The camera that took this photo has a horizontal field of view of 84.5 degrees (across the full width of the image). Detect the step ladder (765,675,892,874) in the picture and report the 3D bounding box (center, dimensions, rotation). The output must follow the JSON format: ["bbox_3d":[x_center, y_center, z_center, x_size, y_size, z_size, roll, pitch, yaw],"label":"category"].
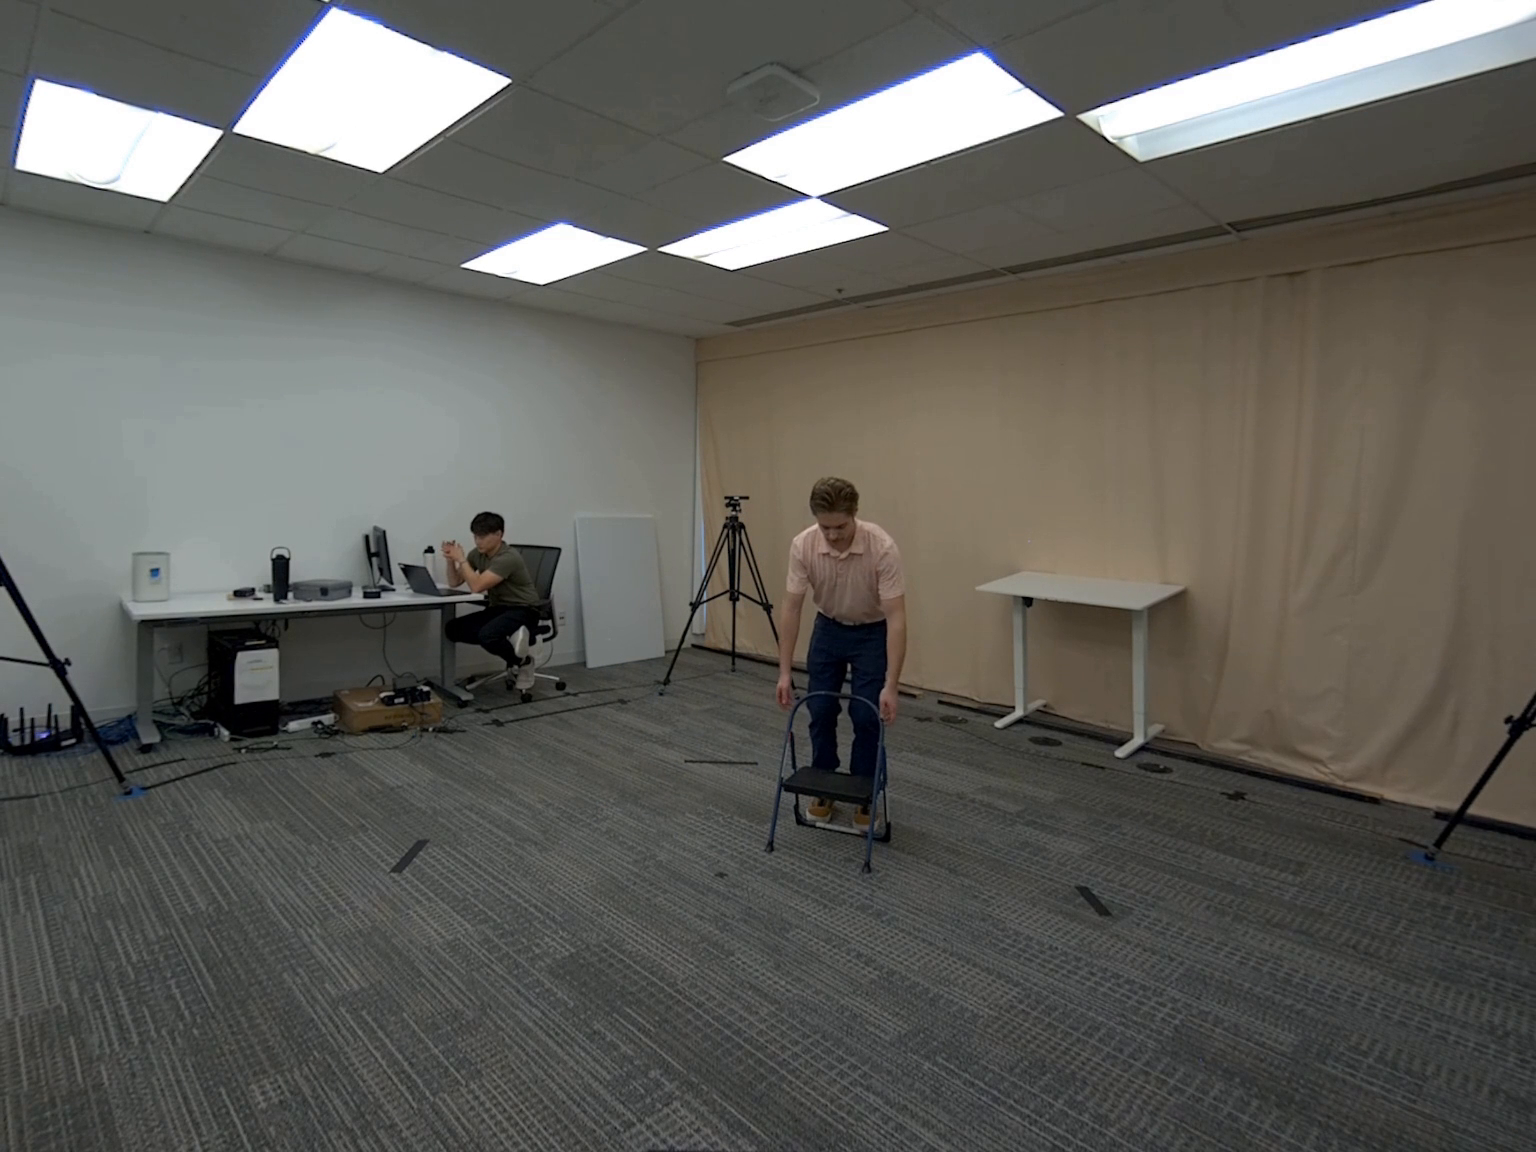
[{"bbox_3d":[0.250,0.790,3.378,0.439,0.604,0.343,4,4,24],"label":"step ladder"}]
